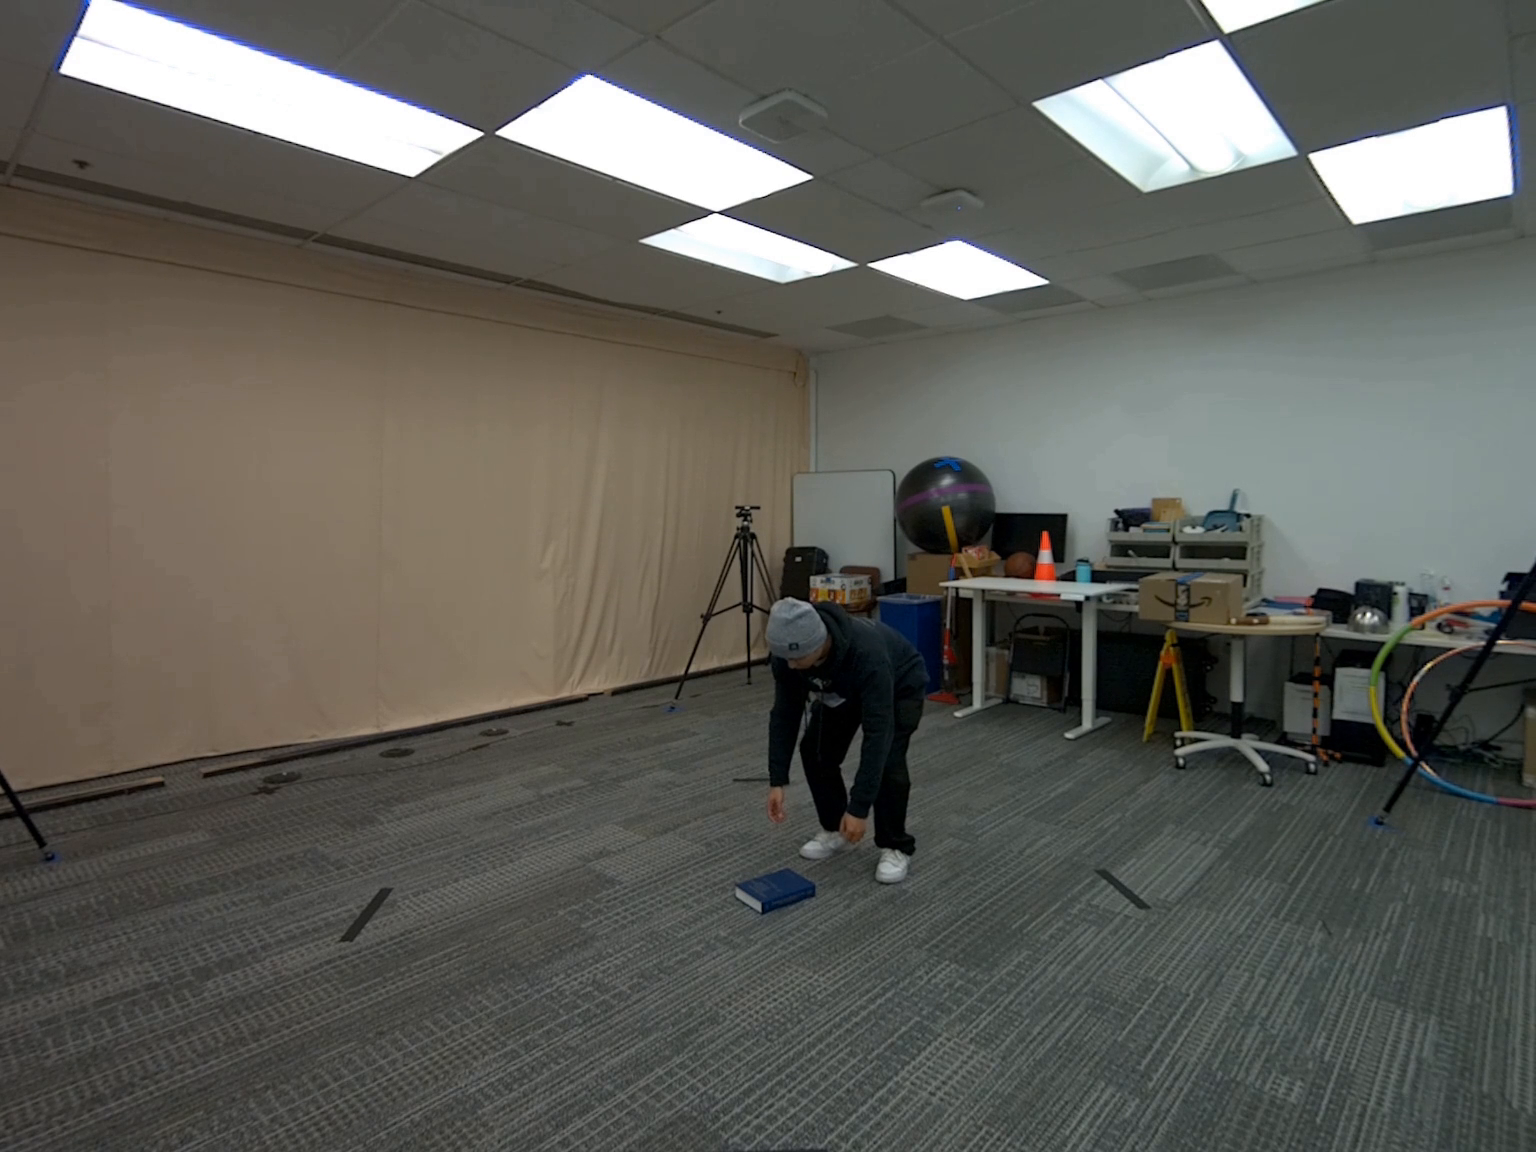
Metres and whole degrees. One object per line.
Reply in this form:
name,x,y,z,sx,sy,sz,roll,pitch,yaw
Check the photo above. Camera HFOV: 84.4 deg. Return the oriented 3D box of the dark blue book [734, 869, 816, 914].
dark blue book,0.027,1.119,2.998,0.238,0.045,0.168,-4,5,-36
